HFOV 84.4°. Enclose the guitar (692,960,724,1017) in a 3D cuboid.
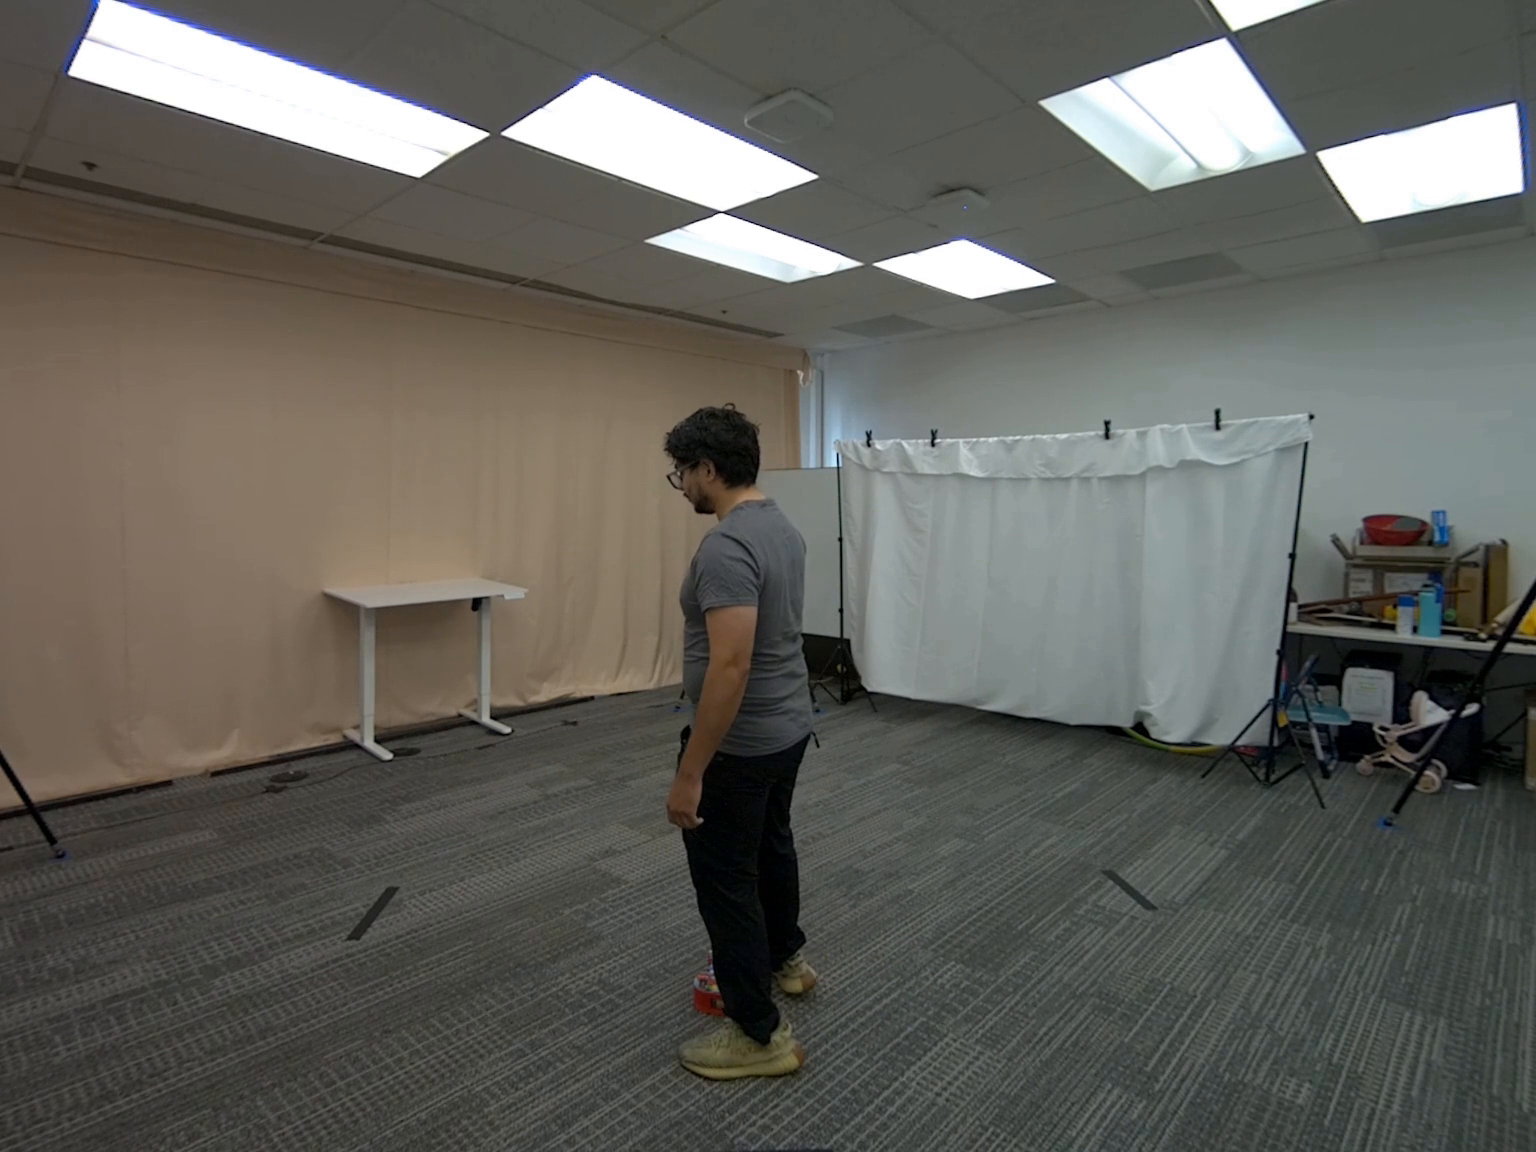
[{"bbox_3d":[-0.074,1.146,2.534,0.196,0.070,0.492,1,5,12],"label":"guitar"}]
